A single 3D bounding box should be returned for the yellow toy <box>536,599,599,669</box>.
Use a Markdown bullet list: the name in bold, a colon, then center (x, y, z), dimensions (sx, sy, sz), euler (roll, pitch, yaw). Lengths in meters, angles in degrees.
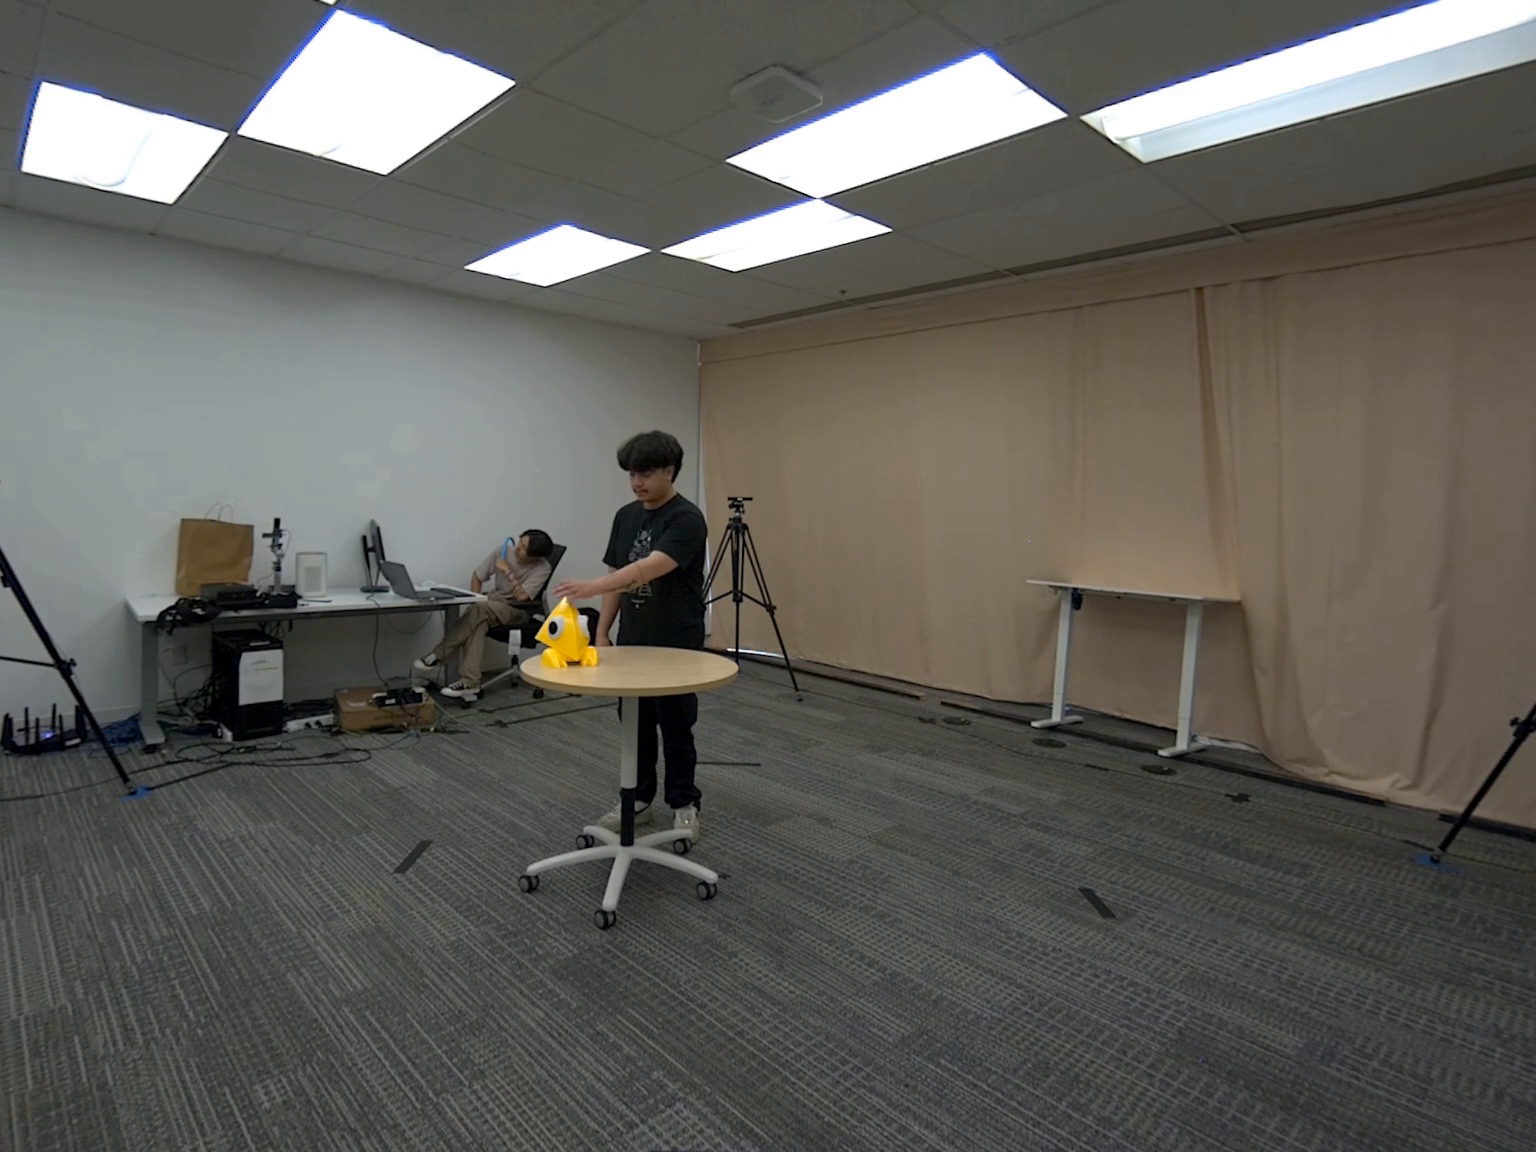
- **yellow toy**: center (-0.717, 0.195, 2.994), dimensions (0.201, 0.230, 0.197), euler (-1, 5, -28)
